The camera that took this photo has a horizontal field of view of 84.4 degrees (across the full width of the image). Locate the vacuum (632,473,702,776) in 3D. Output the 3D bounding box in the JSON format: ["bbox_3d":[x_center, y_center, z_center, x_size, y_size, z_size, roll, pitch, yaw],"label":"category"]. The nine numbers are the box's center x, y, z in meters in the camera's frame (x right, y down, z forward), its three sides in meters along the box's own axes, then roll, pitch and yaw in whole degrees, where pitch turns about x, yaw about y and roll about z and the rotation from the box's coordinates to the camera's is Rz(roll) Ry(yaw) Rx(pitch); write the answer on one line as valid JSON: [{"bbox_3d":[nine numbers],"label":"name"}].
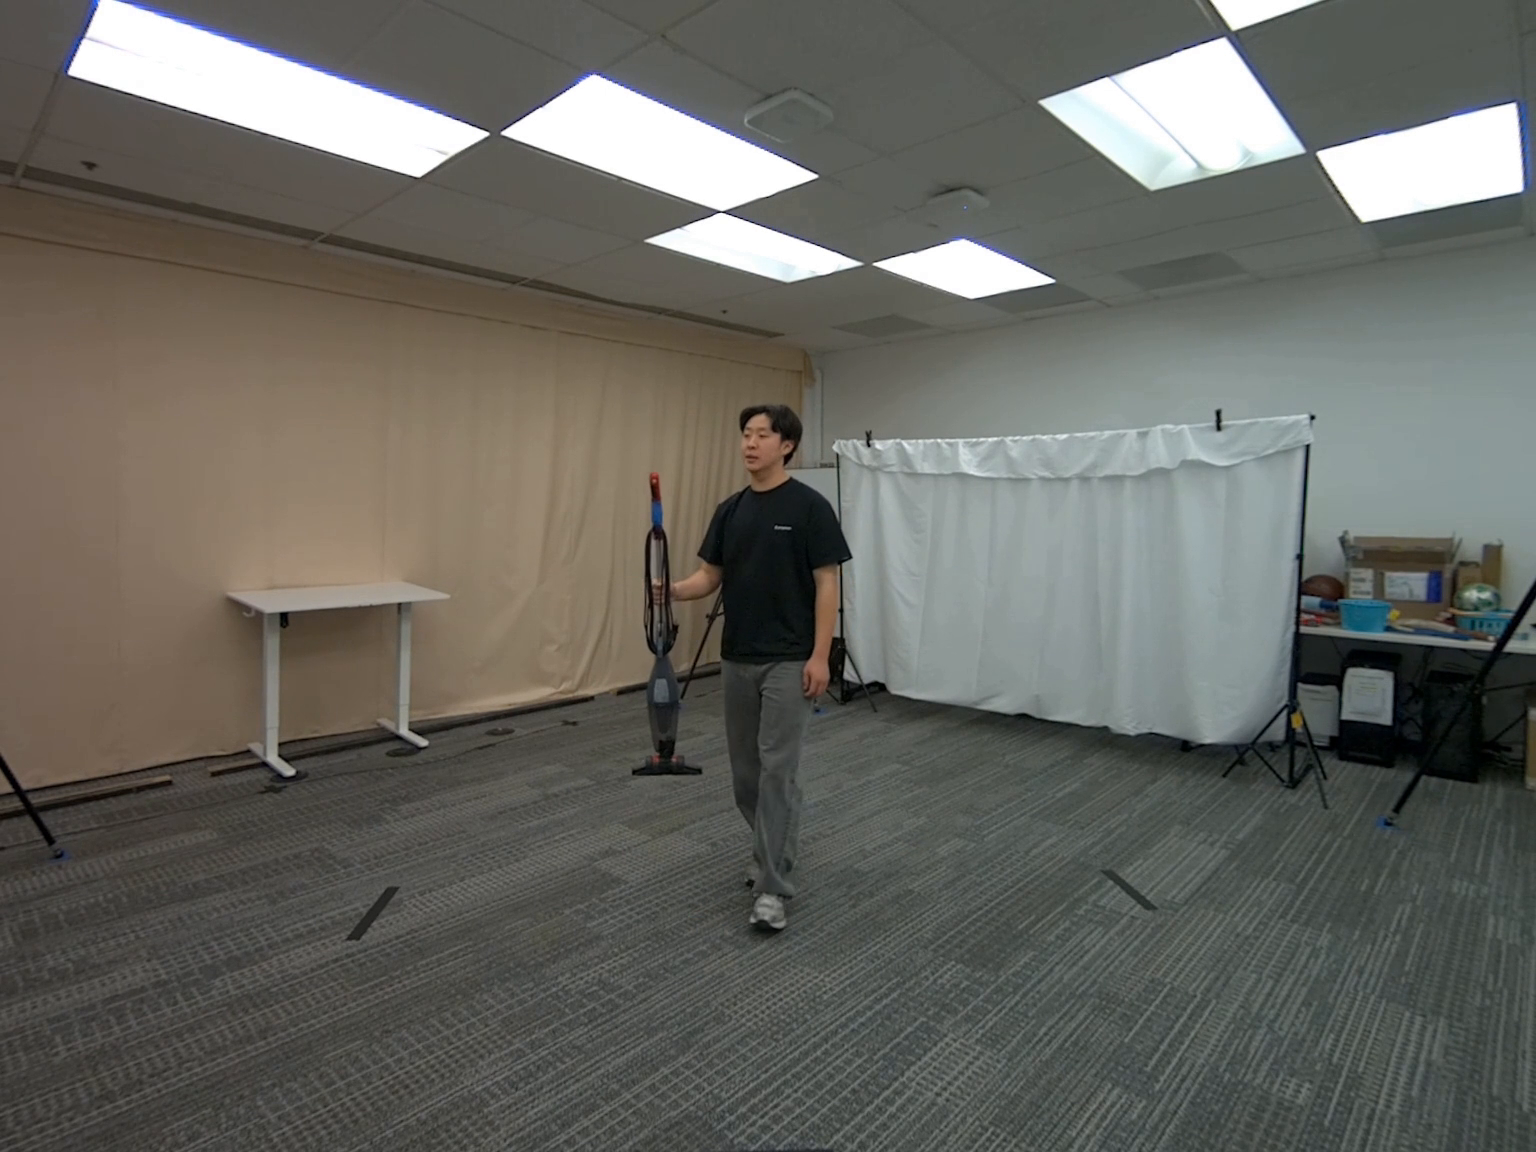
[{"bbox_3d":[-0.364,0.178,2.868,0.252,1.041,0.145,-1,12,-4],"label":"vacuum"}]
